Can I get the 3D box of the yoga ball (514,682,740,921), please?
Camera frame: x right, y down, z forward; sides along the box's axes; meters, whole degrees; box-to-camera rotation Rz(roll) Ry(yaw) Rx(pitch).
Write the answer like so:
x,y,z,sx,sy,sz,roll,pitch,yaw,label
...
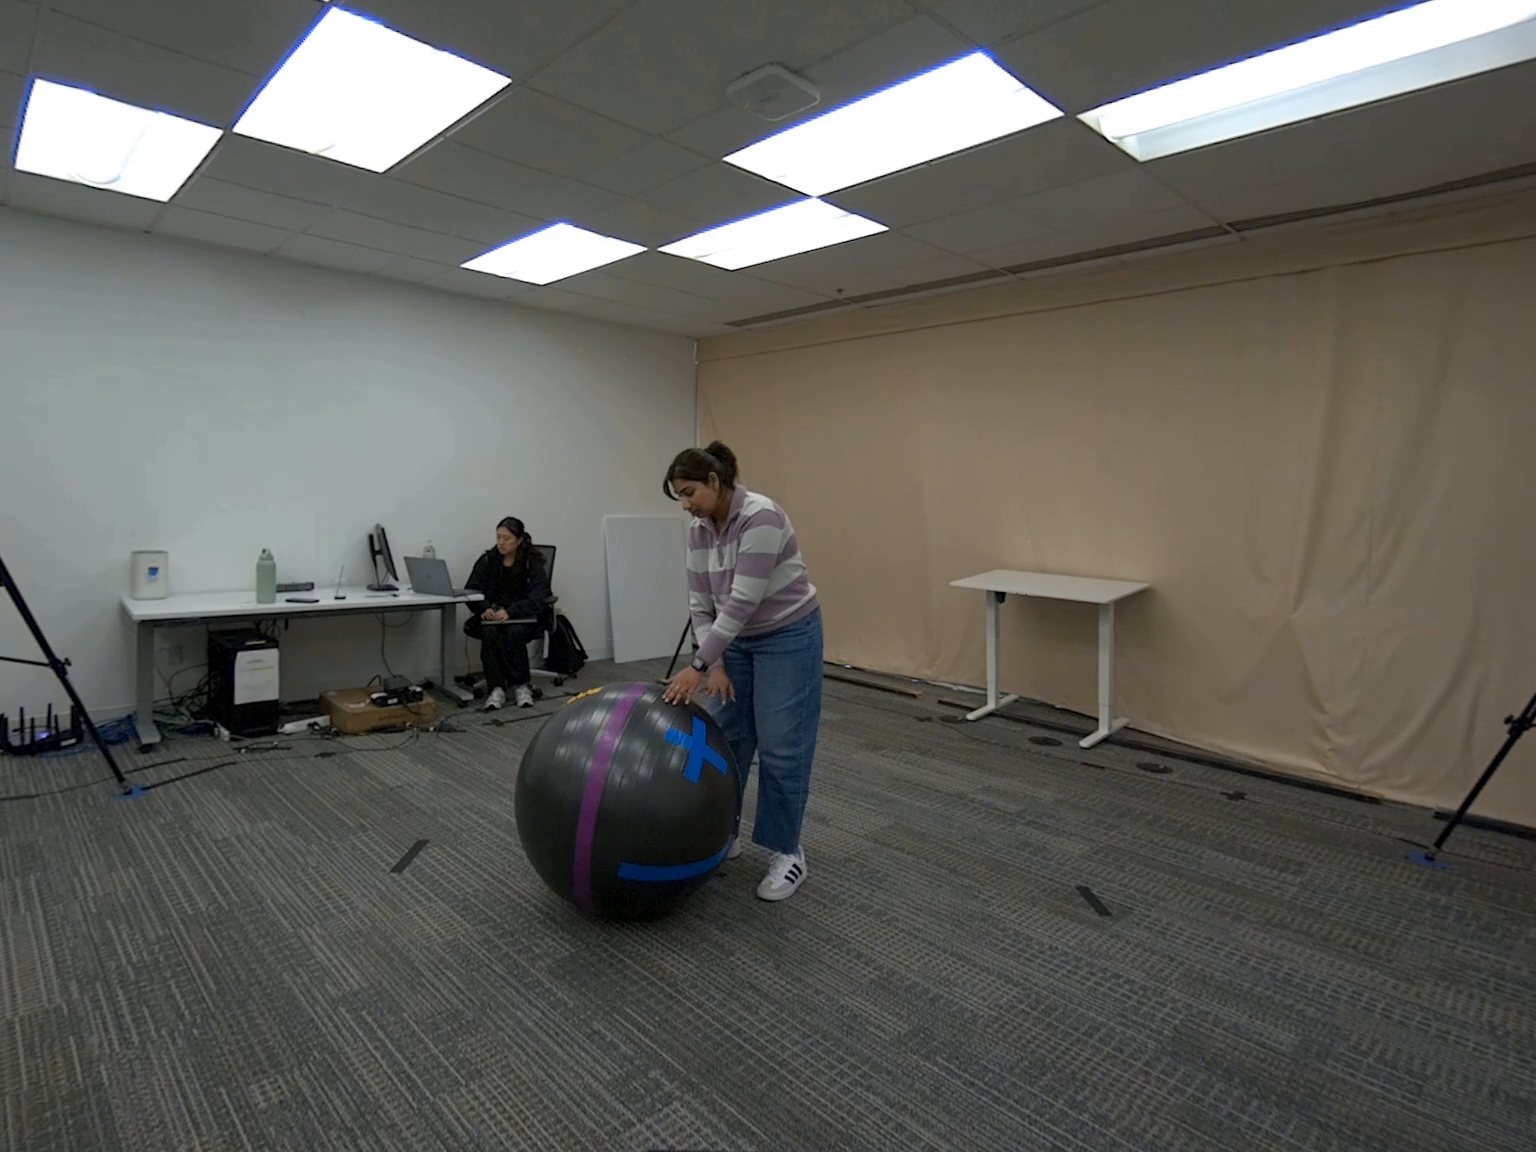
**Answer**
x,y,z,sx,sy,sz,roll,pitch,yaw,label
-0.479,0.755,2.843,0.757,0.756,0.761,1,4,-1,yoga ball
